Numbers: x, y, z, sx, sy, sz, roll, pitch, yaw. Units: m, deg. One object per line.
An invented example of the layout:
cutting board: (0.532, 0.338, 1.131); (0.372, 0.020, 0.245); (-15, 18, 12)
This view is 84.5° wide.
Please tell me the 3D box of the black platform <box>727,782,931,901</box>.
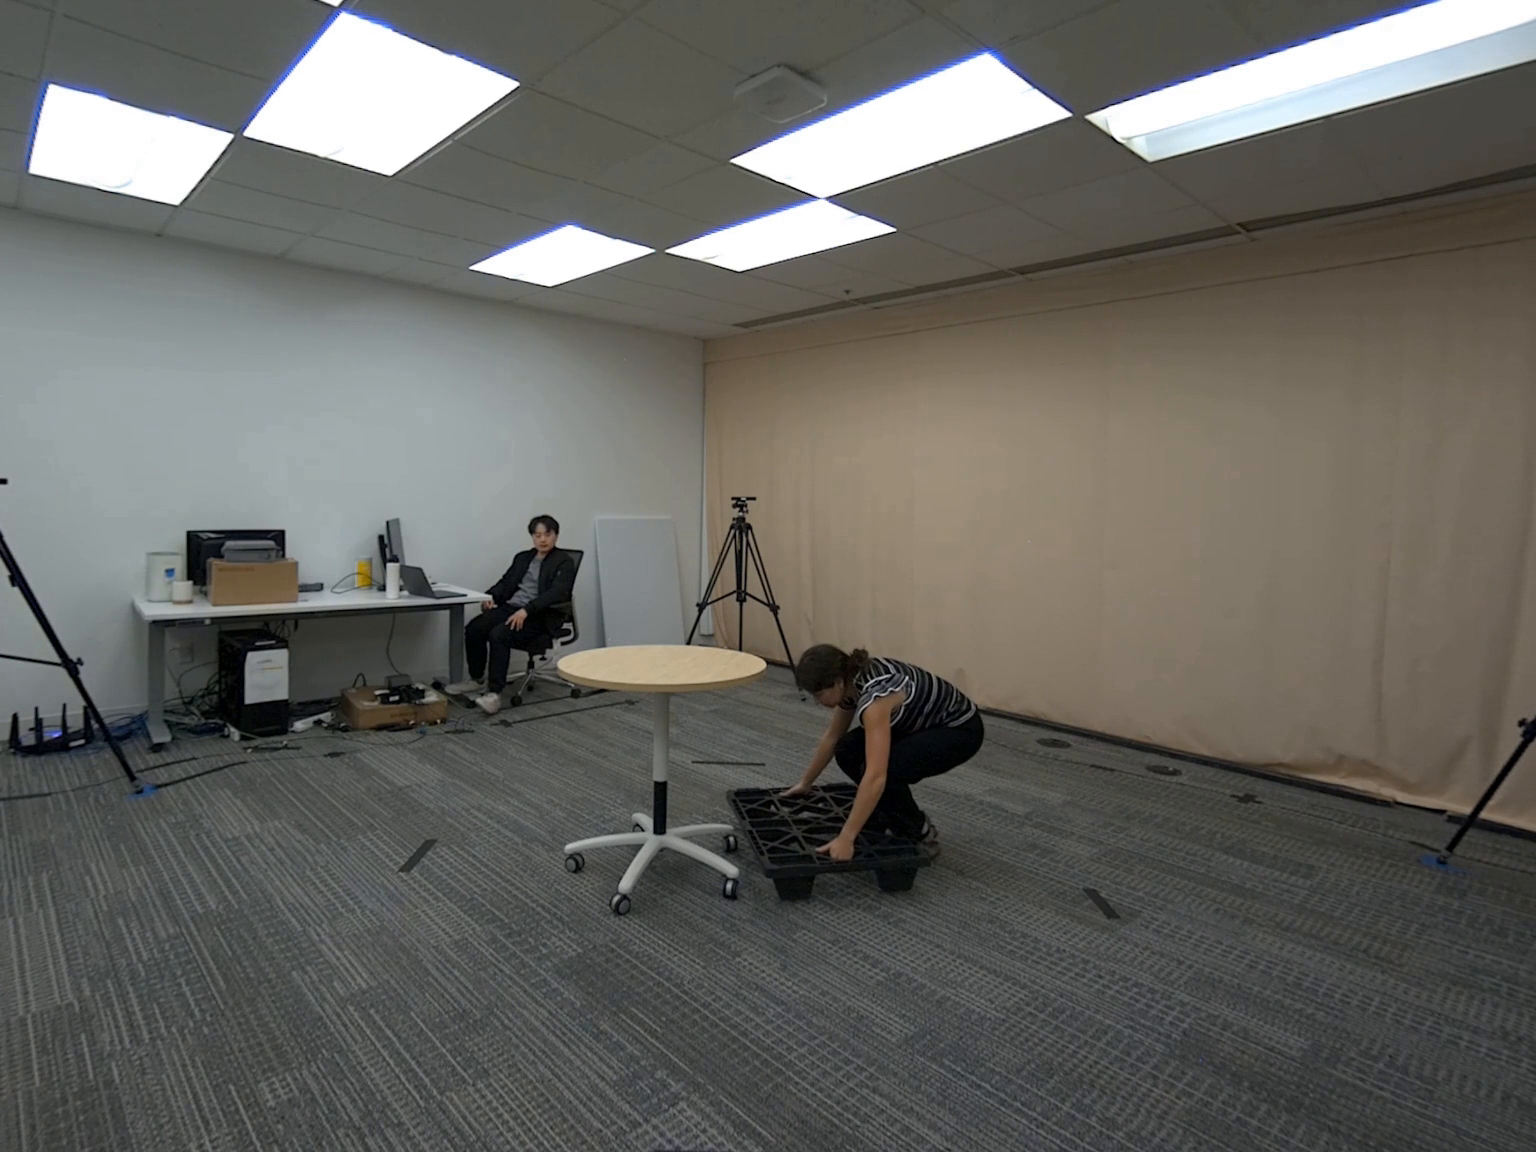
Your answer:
black platform: (0.185, 1.015, 3.271); (0.600, 0.143, 0.815); (-2, 5, -12)
